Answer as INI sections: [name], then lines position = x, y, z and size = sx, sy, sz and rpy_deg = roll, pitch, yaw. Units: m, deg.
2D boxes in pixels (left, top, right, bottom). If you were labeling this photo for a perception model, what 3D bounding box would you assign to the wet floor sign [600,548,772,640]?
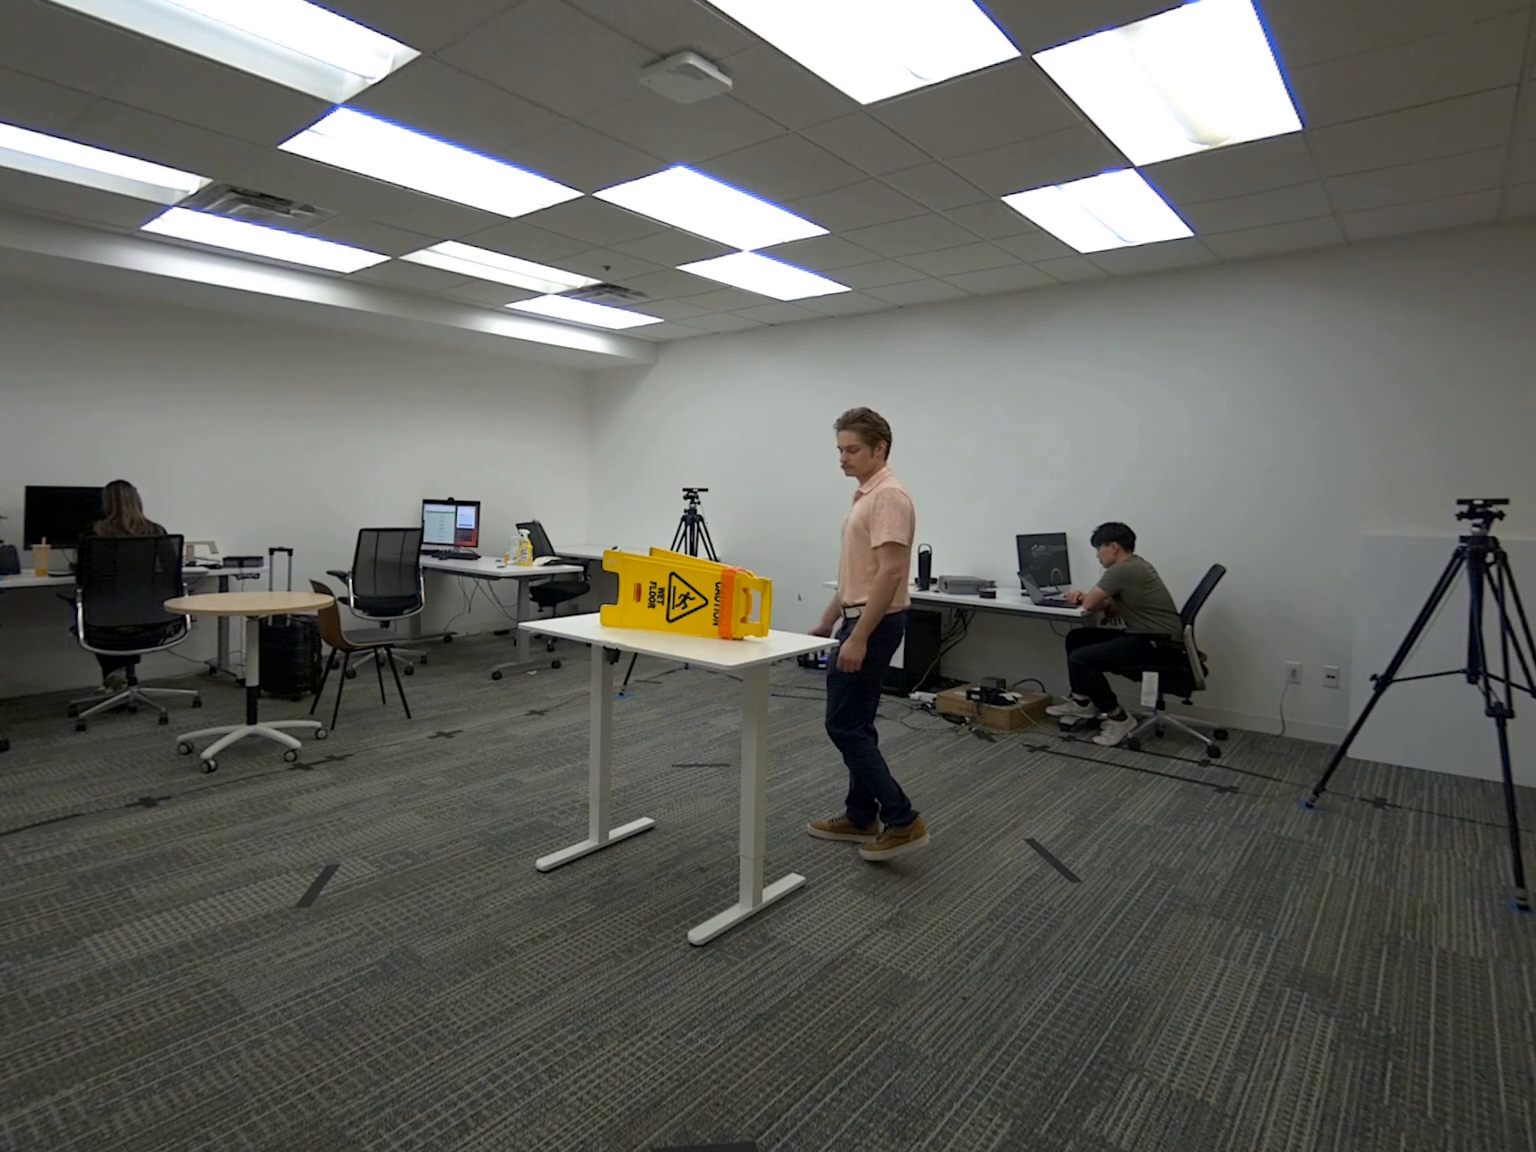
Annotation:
[wet floor sign]
position = -0.274, 0.069, 3.002
size = 0.668, 0.281, 0.281
rpy_deg = 8, 7, 37
